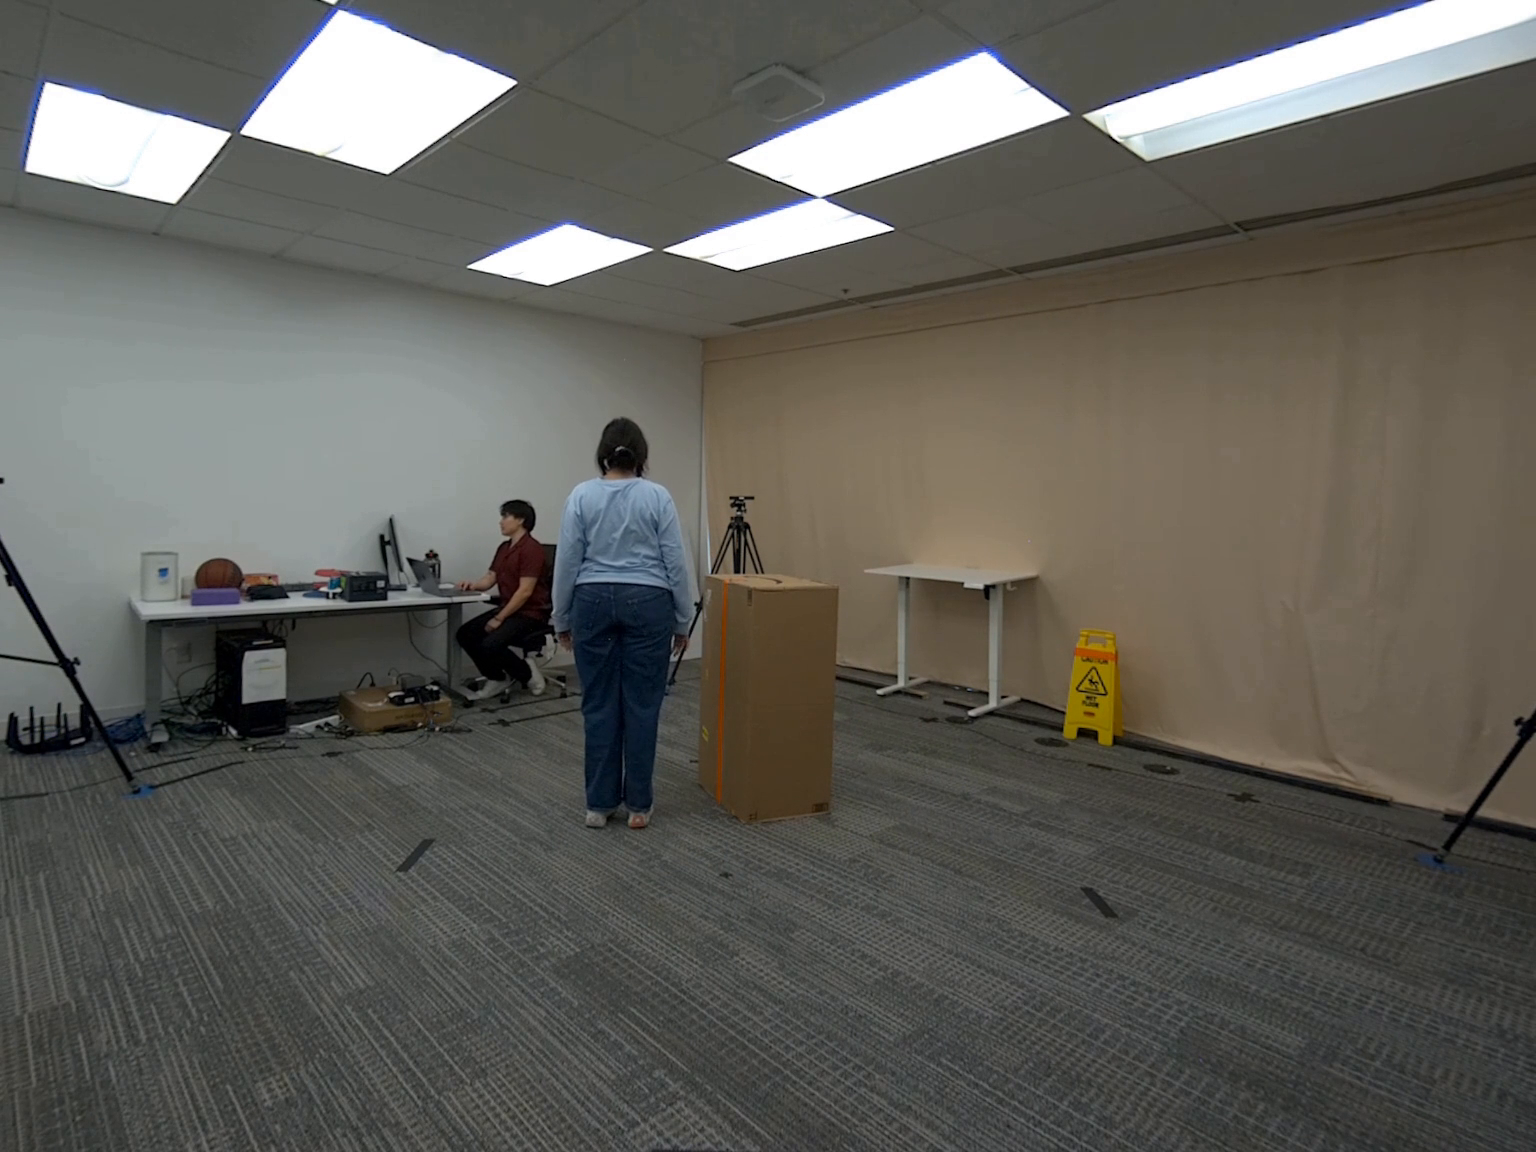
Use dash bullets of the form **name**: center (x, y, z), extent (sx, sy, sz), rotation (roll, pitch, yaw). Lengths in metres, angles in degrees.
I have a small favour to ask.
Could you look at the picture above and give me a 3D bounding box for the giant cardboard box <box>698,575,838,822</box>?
- **giant cardboard box**: center (-0.027, 0.526, 3.908), extent (0.419, 1.023, 0.589), rotation (0, 4, -25)
